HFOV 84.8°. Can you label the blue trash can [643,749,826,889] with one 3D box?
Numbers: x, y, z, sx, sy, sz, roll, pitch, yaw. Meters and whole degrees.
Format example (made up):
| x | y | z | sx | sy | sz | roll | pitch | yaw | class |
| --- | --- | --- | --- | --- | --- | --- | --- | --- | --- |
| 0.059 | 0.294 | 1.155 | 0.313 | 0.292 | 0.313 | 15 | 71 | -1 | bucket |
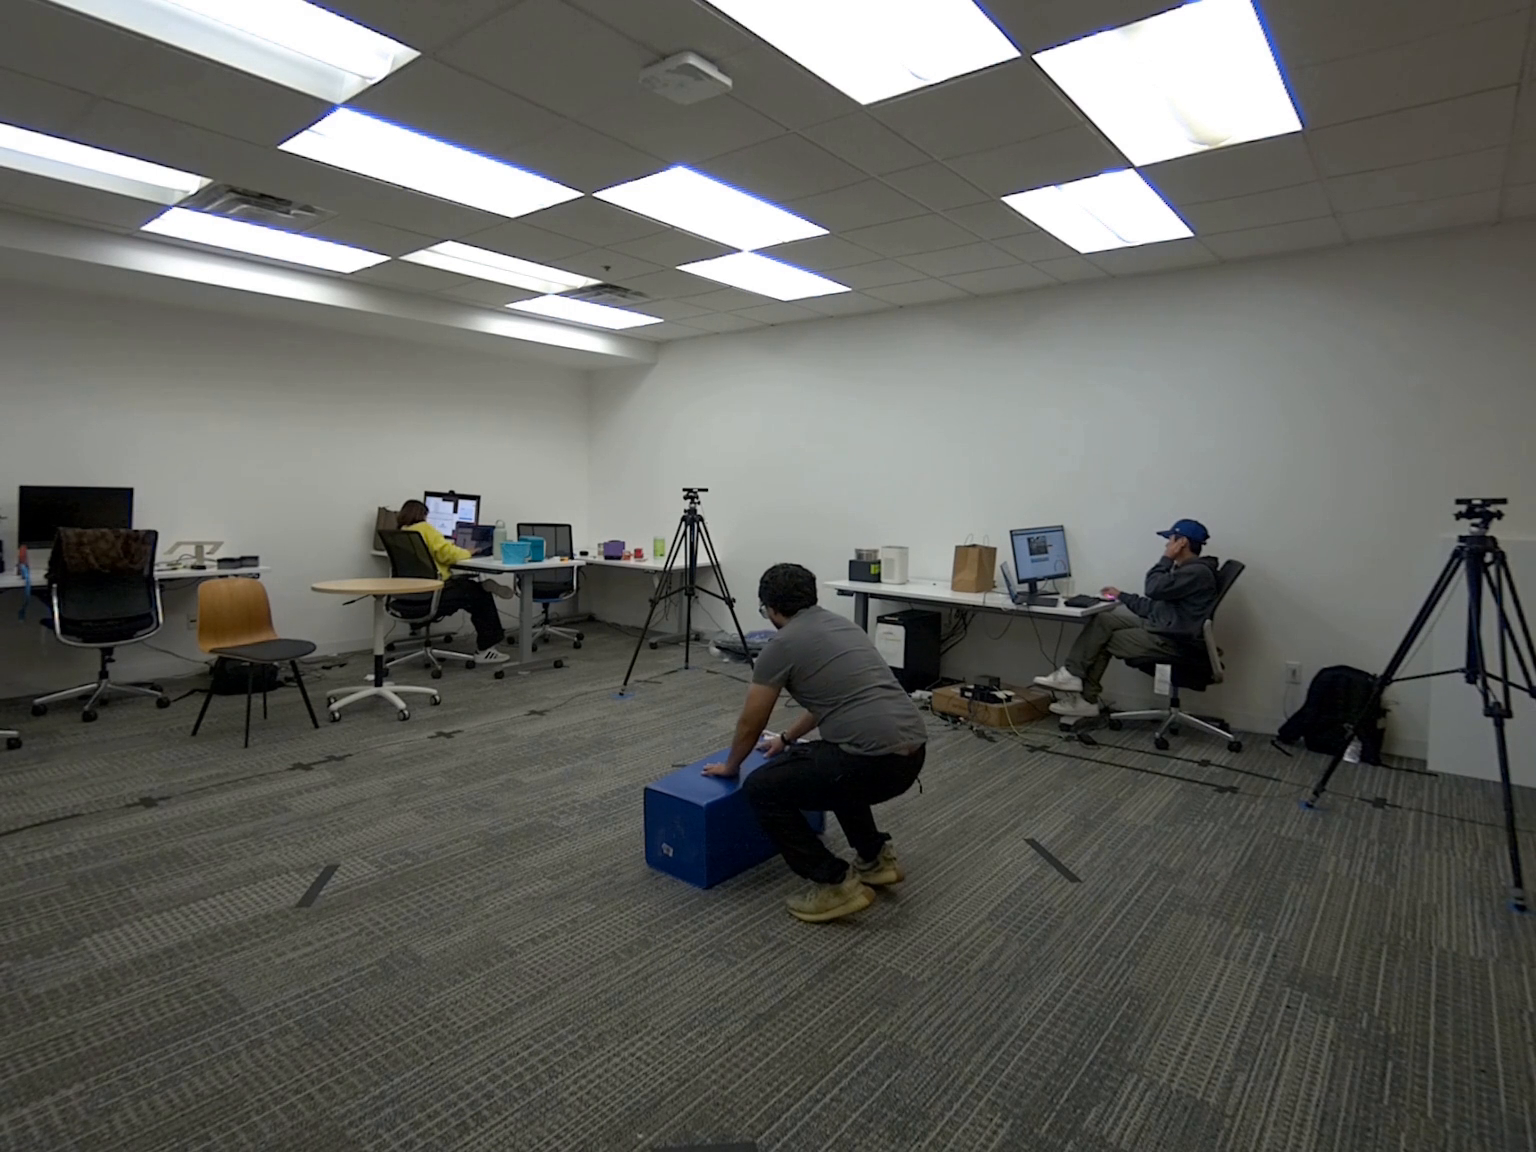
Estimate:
| x | y | z | sx | sy | sz | roll | pitch | yaw | class |
| --- | --- | --- | --- | --- | --- | --- | --- | --- | --- |
| -0.138 | 0.882 | 3.296 | 0.387 | 0.376 | 0.694 | 5 | 8 | 39 | blue trash can |
